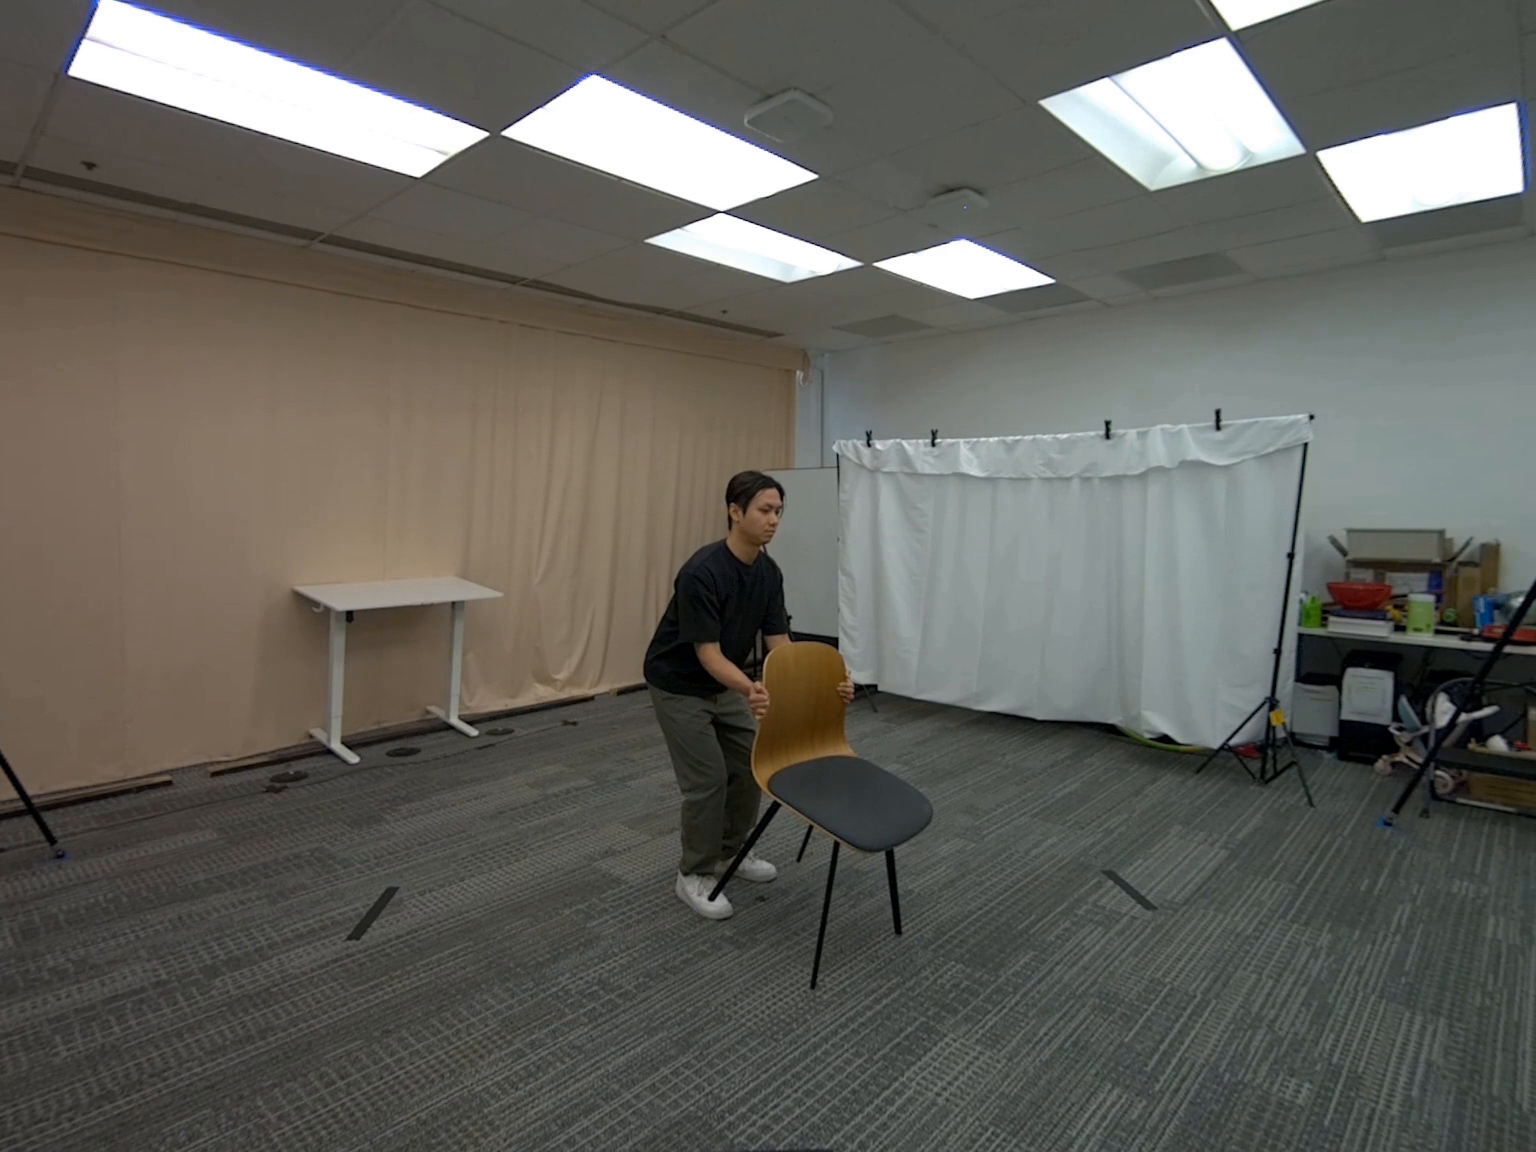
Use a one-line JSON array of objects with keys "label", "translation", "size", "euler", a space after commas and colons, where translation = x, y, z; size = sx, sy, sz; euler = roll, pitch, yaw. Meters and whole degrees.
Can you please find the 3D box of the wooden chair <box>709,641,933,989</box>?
[{"label": "wooden chair", "translation": [0.218, 0.703, 2.620], "size": [0.542, 0.873, 0.463], "euler": [18, 14, 42]}]
